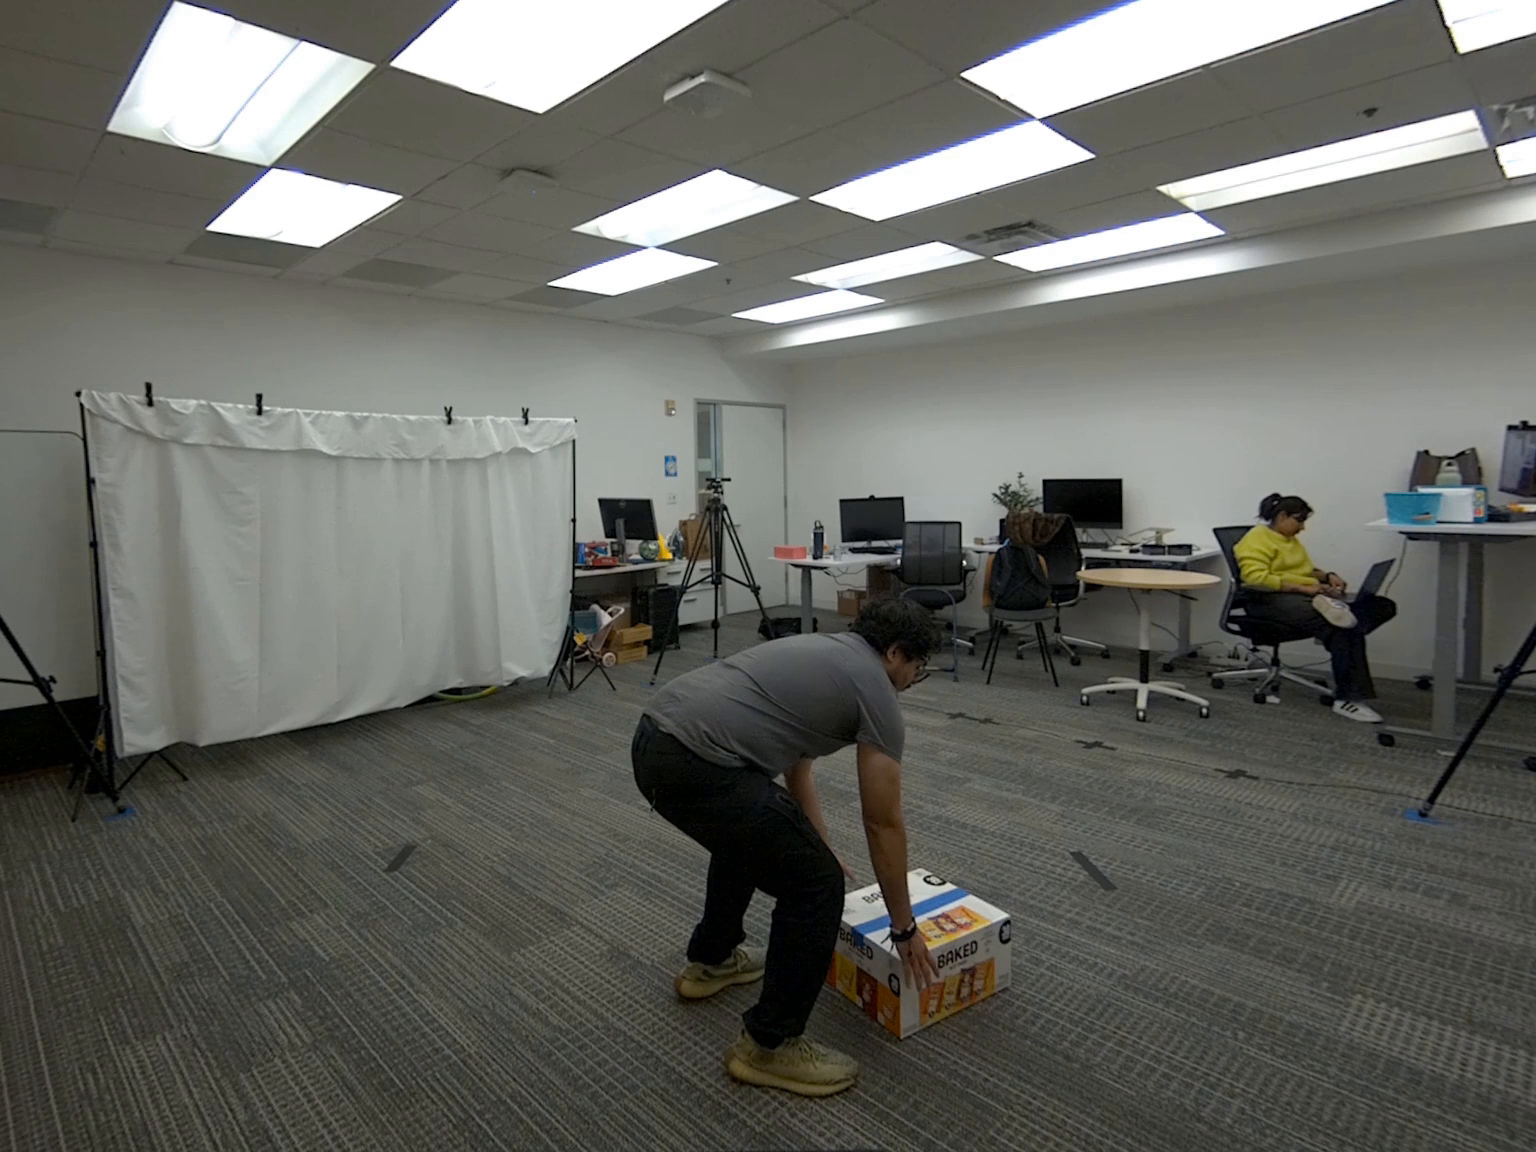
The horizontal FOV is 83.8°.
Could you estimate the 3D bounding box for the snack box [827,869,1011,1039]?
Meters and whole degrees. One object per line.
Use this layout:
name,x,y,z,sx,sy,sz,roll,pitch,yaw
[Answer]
snack box,0.406,1.020,2.355,0.395,0.205,0.350,-5,7,-33
